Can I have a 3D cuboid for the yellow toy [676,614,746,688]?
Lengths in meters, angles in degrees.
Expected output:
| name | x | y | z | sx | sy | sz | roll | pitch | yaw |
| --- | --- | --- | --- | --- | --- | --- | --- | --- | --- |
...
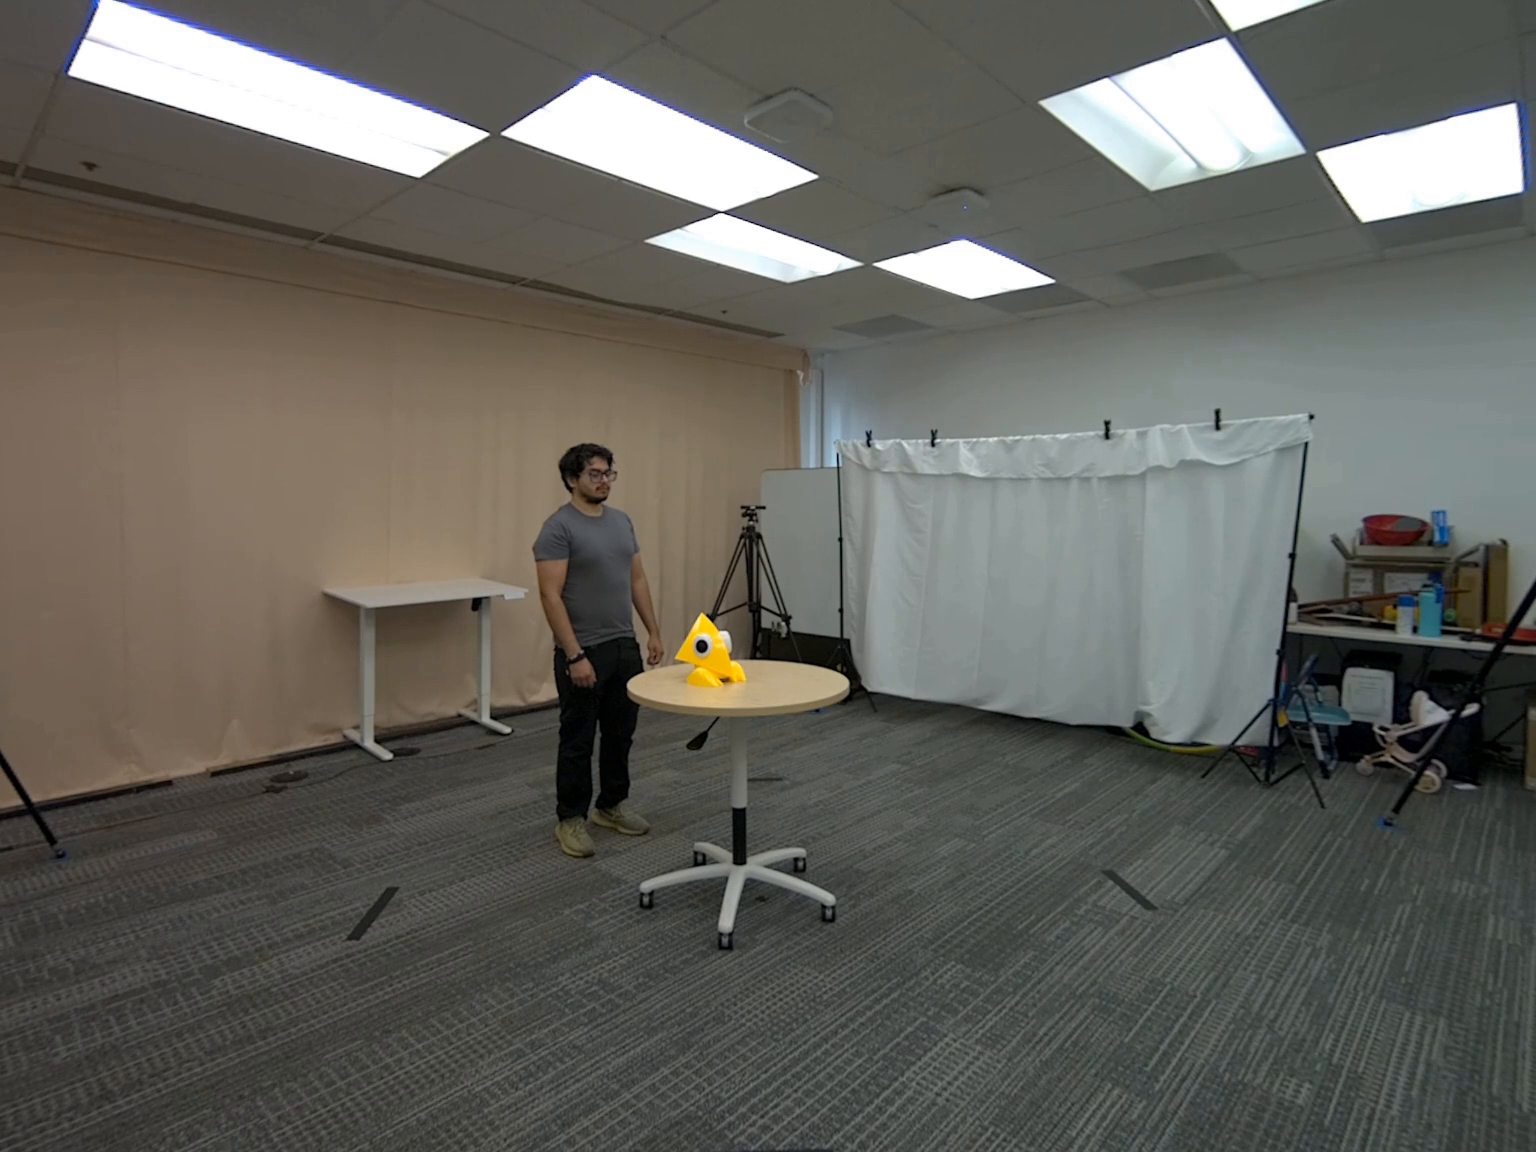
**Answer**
| name | x | y | z | sx | sy | sz | roll | pitch | yaw |
| --- | --- | --- | --- | --- | --- | --- | --- | --- | --- |
| yellow toy | -0.185 | 0.251 | 2.936 | 0.198 | 0.230 | 0.199 | -4 | 5 | -42 |
